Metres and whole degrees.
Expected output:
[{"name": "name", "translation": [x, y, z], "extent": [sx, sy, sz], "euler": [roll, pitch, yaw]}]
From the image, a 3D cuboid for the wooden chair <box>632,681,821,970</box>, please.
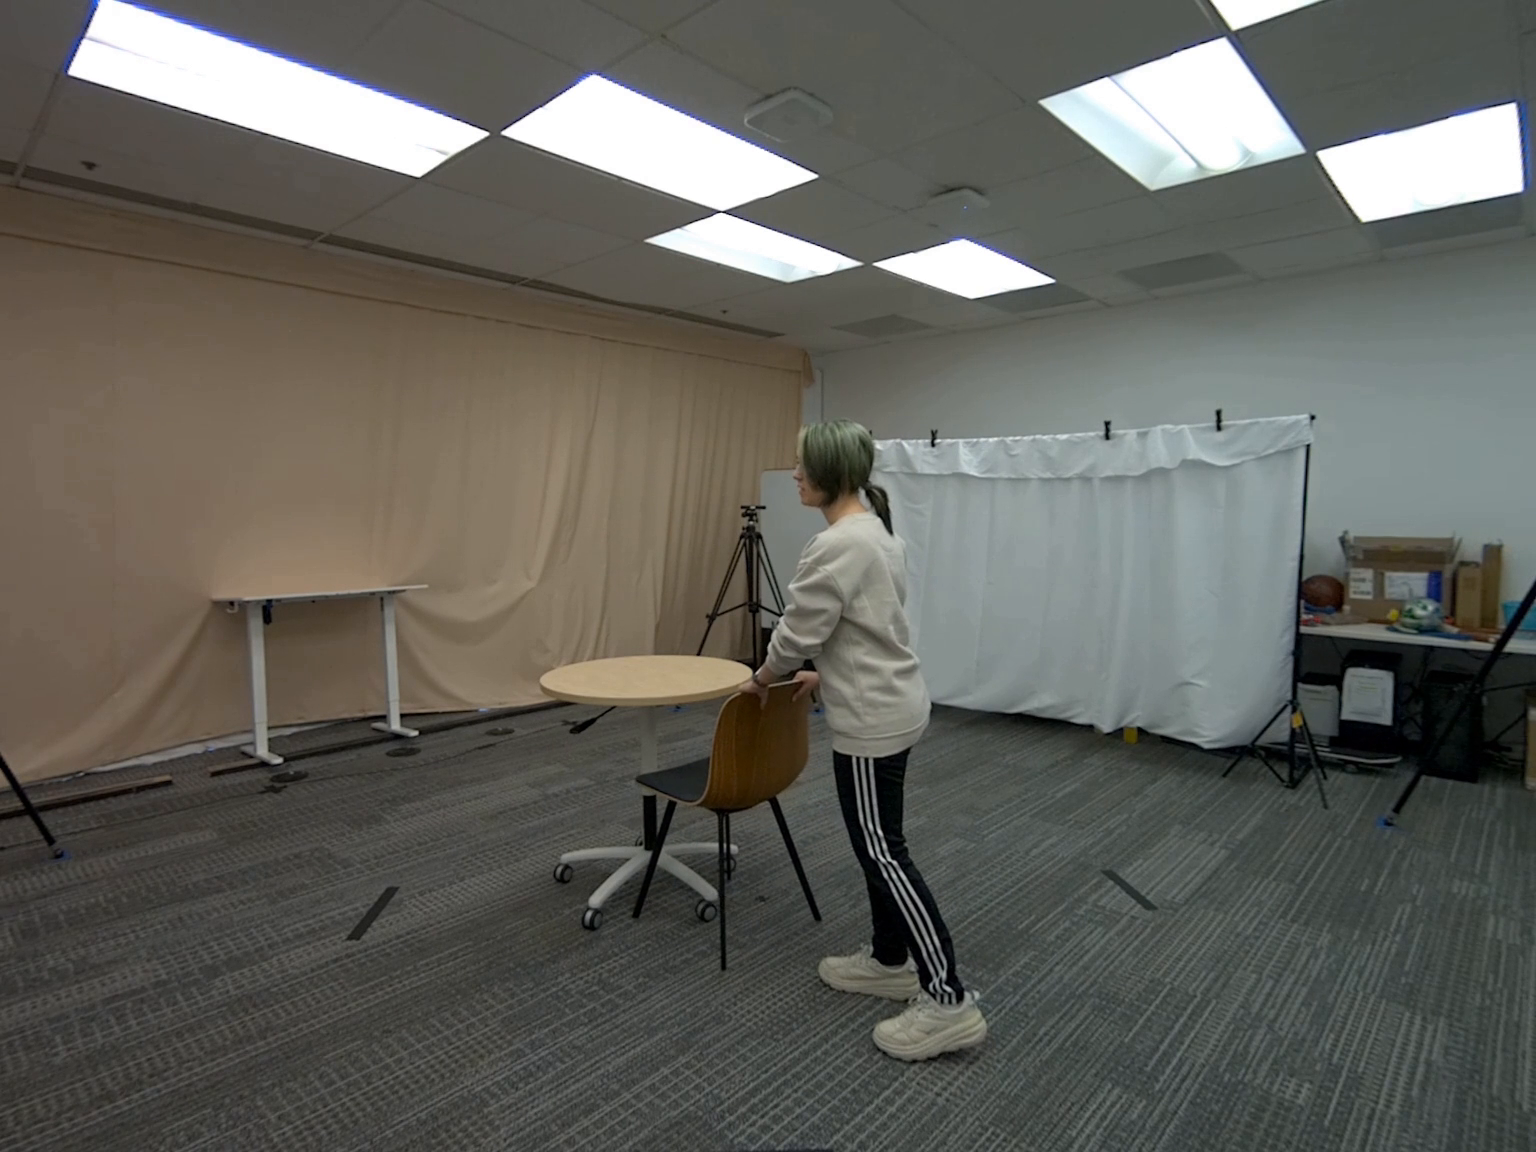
[{"name": "wooden chair", "translation": [-0.142, 0.729, 2.815], "extent": [0.463, 0.874, 0.541], "euler": [-4, 9, -43]}]
